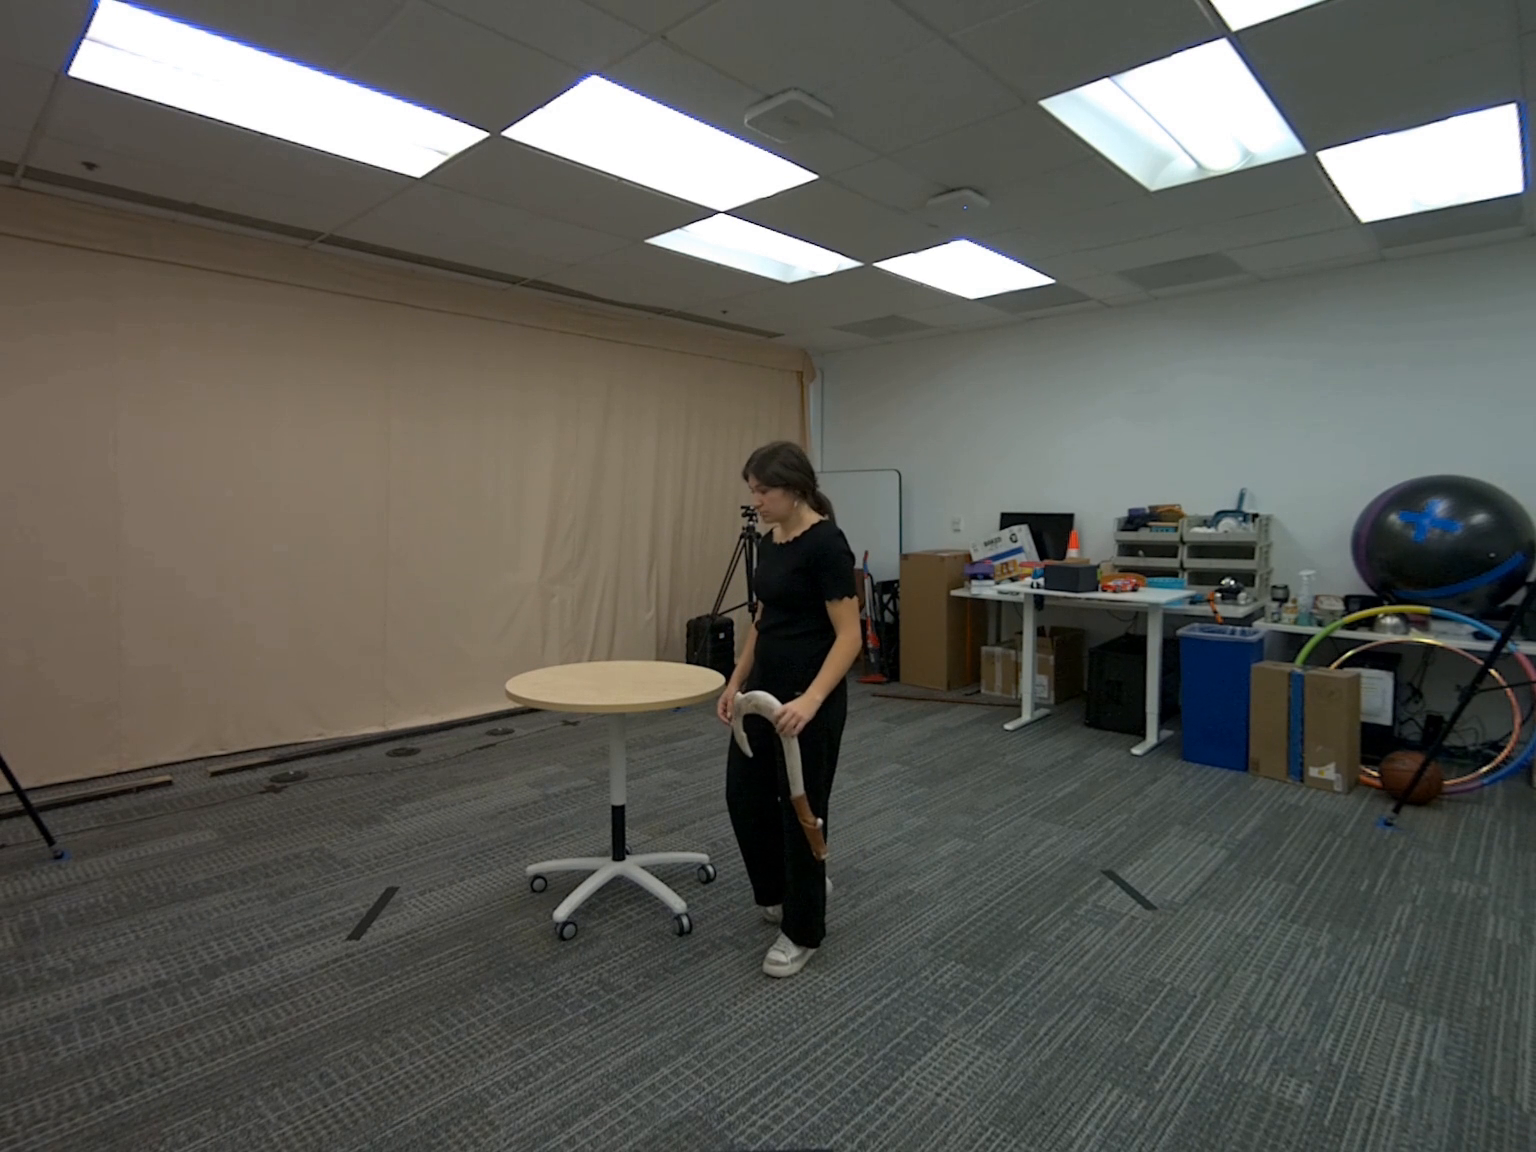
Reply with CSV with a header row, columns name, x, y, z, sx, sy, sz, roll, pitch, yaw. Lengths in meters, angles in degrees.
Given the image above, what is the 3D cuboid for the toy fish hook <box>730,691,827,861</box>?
name,x,y,z,sx,sy,sz,roll,pitch,yaw
toy fish hook,0.034,0.558,2.352,0.047,0.504,0.230,-23,6,-41
